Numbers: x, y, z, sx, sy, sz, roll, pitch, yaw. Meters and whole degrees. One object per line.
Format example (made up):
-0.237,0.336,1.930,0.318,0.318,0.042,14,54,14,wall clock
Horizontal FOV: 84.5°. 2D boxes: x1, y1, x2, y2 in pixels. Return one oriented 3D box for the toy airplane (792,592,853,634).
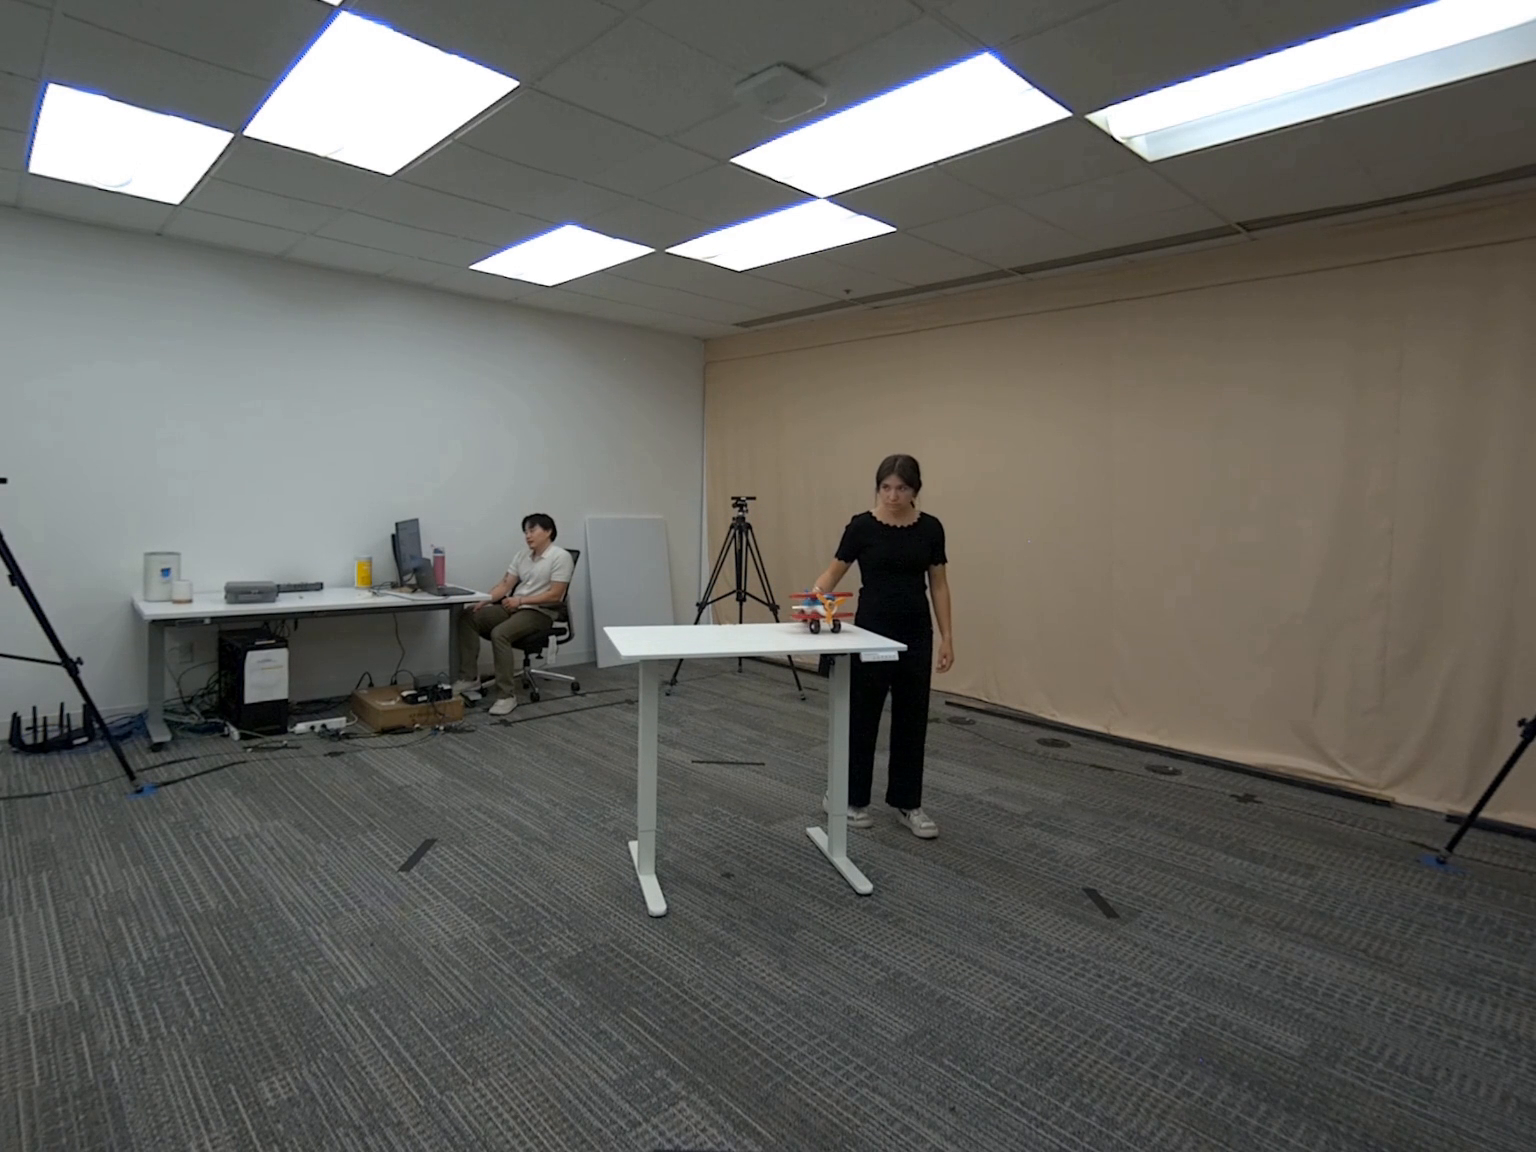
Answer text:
0.175,0.129,3.275,0.246,0.155,0.266,-7,14,-44,toy airplane
